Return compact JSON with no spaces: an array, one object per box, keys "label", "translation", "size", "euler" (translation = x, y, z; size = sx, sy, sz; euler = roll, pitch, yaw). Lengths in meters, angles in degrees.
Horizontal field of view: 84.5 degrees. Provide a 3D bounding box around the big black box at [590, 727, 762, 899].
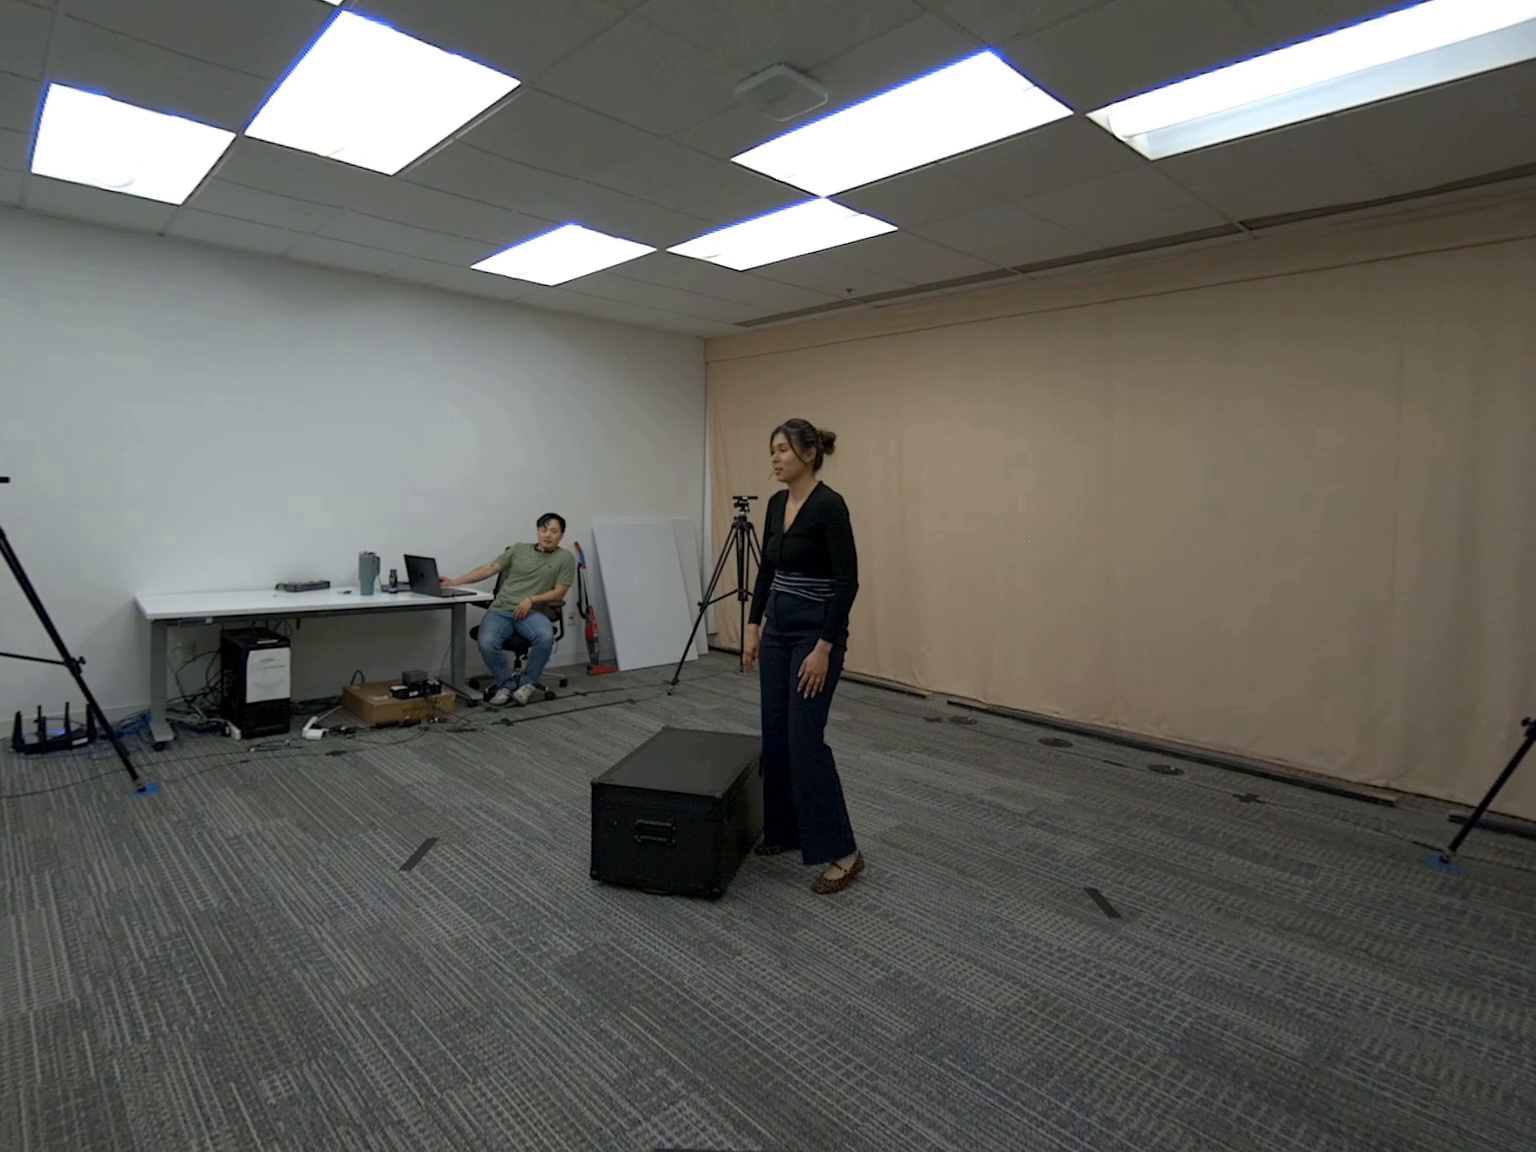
[{"label":"big black box","translation":[-0.304,0.884,3.317],"size":[0.527,0.395,0.854],"euler":[2,5,13]}]
